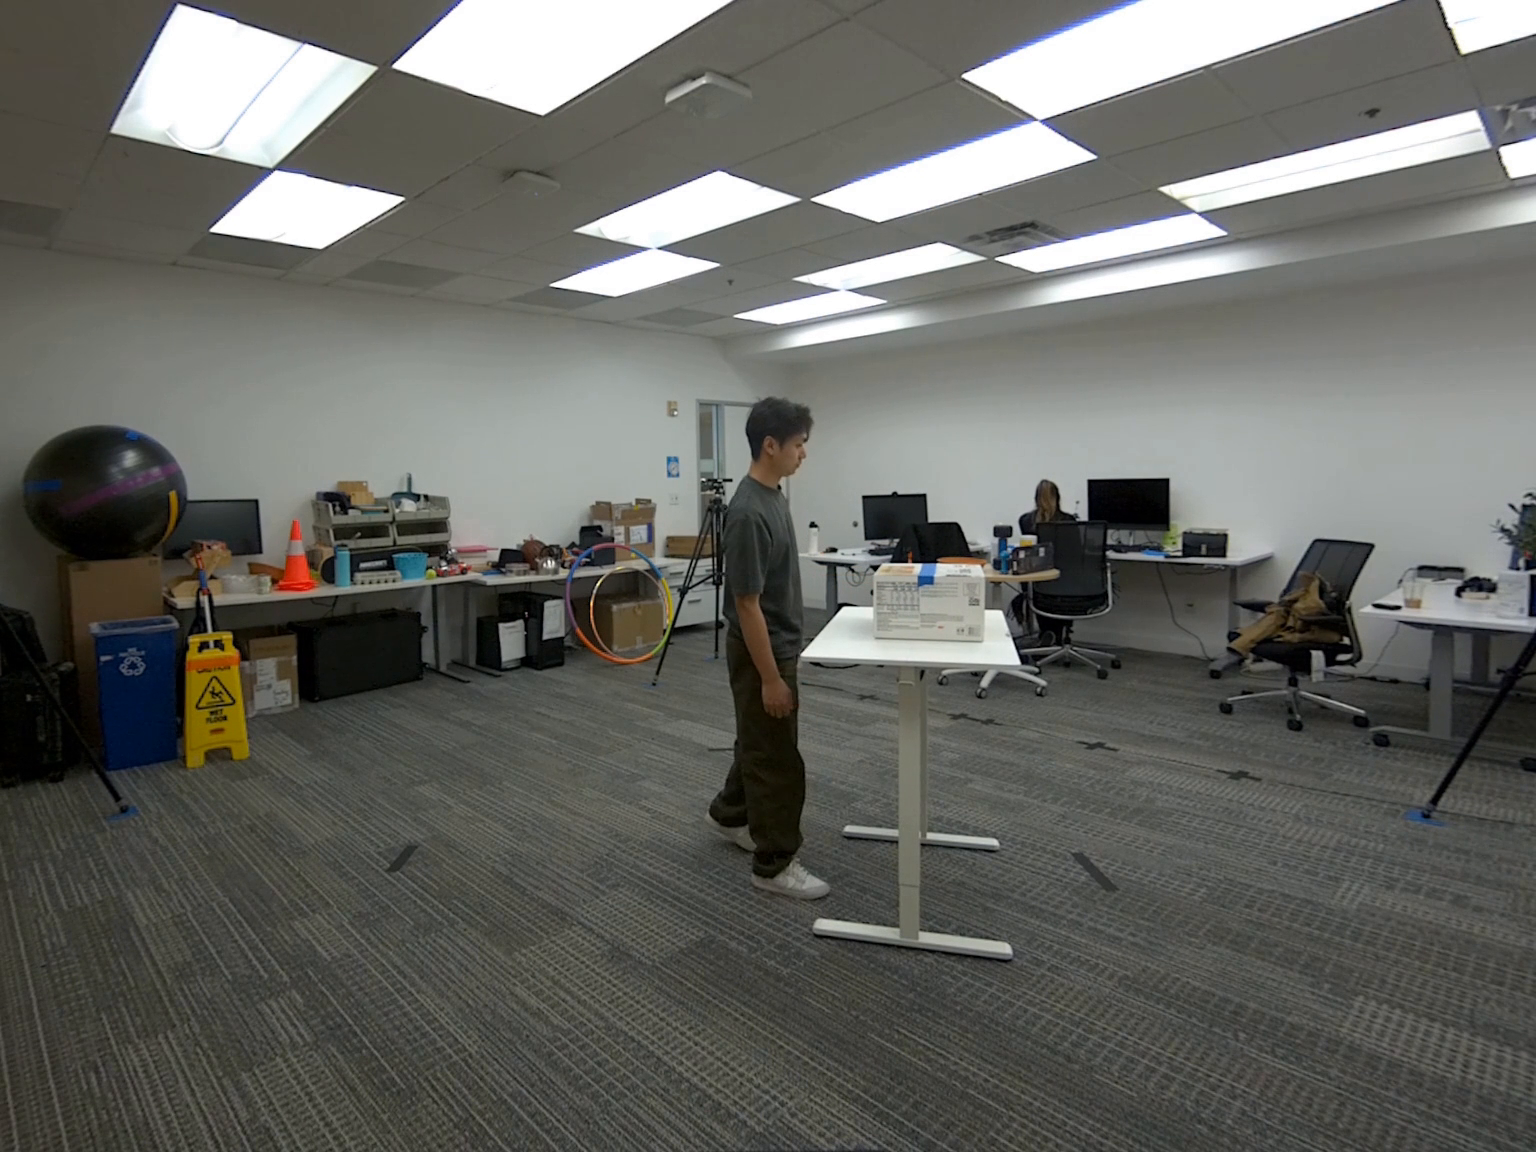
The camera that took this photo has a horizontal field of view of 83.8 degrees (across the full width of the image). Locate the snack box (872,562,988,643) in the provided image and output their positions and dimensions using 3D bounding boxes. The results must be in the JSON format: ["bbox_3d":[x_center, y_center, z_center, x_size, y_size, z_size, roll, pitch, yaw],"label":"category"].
[{"bbox_3d":[0.538,0.080,2.850,0.345,0.205,0.401,0,6,13],"label":"snack box"}]
